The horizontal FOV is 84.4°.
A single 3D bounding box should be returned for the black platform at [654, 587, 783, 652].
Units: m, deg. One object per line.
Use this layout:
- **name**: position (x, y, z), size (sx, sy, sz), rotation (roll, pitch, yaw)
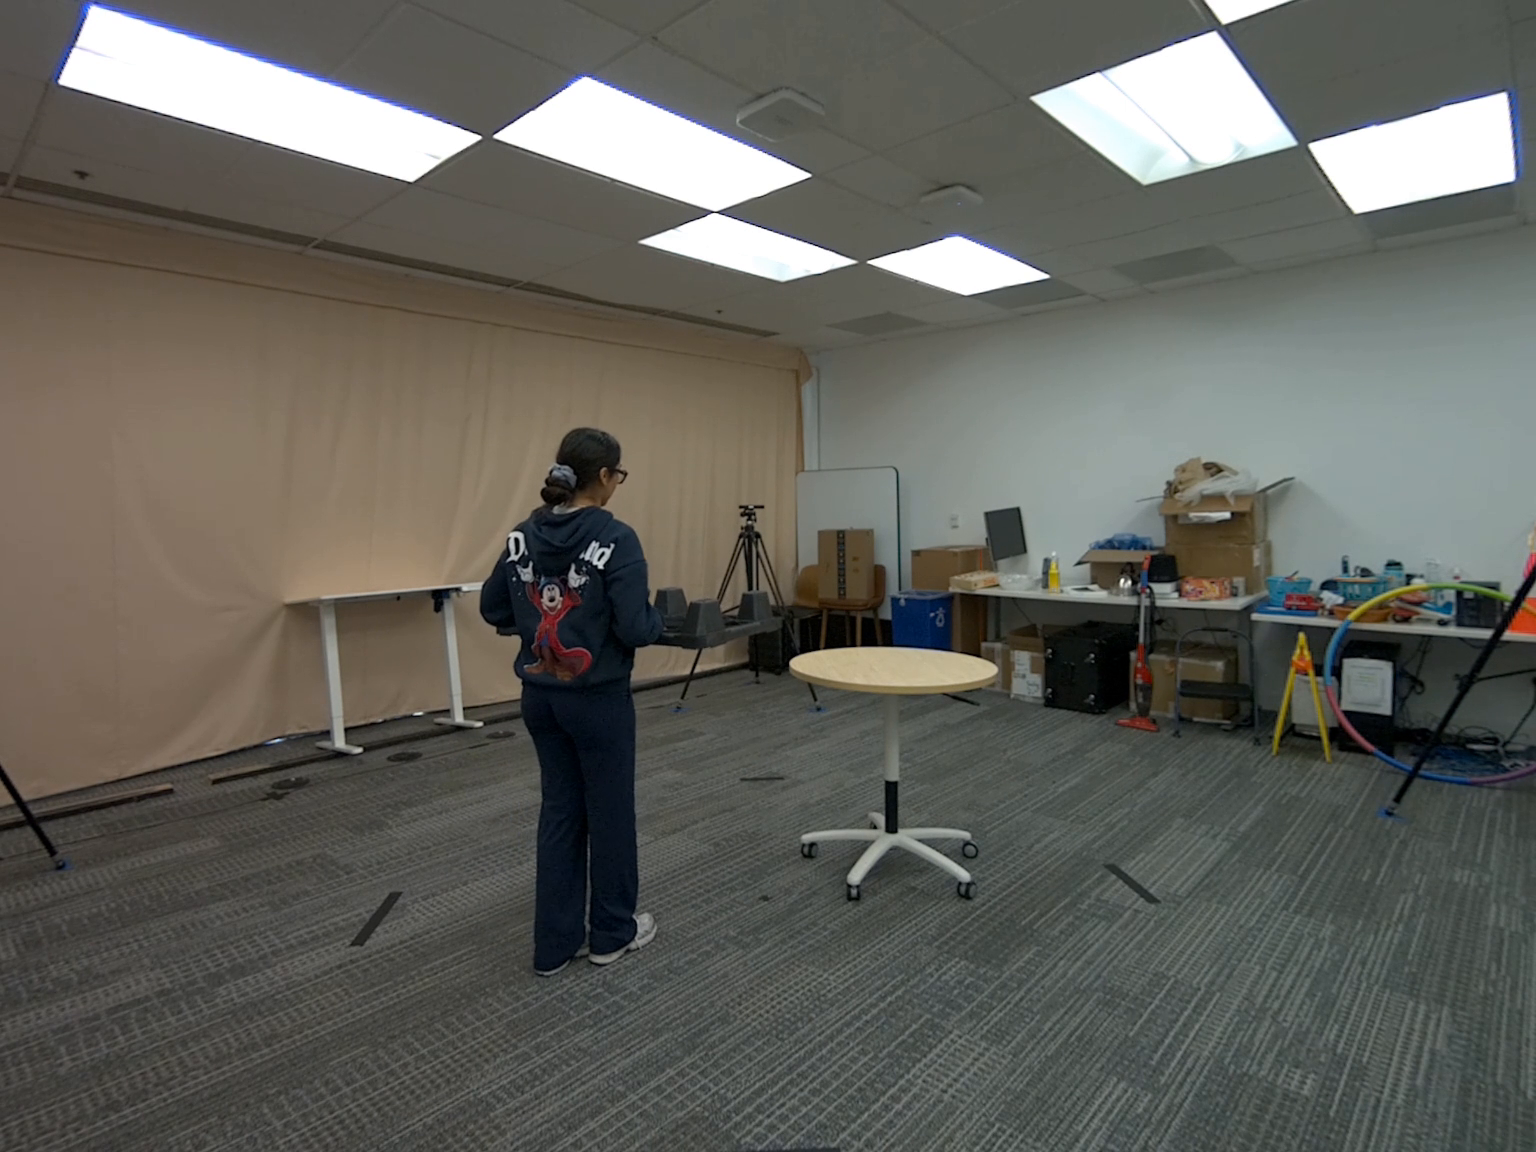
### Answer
- **black platform**: position (-0.423, 0.125, 2.887), size (0.827, 0.143, 0.590), rotation (1, 4, 26)
